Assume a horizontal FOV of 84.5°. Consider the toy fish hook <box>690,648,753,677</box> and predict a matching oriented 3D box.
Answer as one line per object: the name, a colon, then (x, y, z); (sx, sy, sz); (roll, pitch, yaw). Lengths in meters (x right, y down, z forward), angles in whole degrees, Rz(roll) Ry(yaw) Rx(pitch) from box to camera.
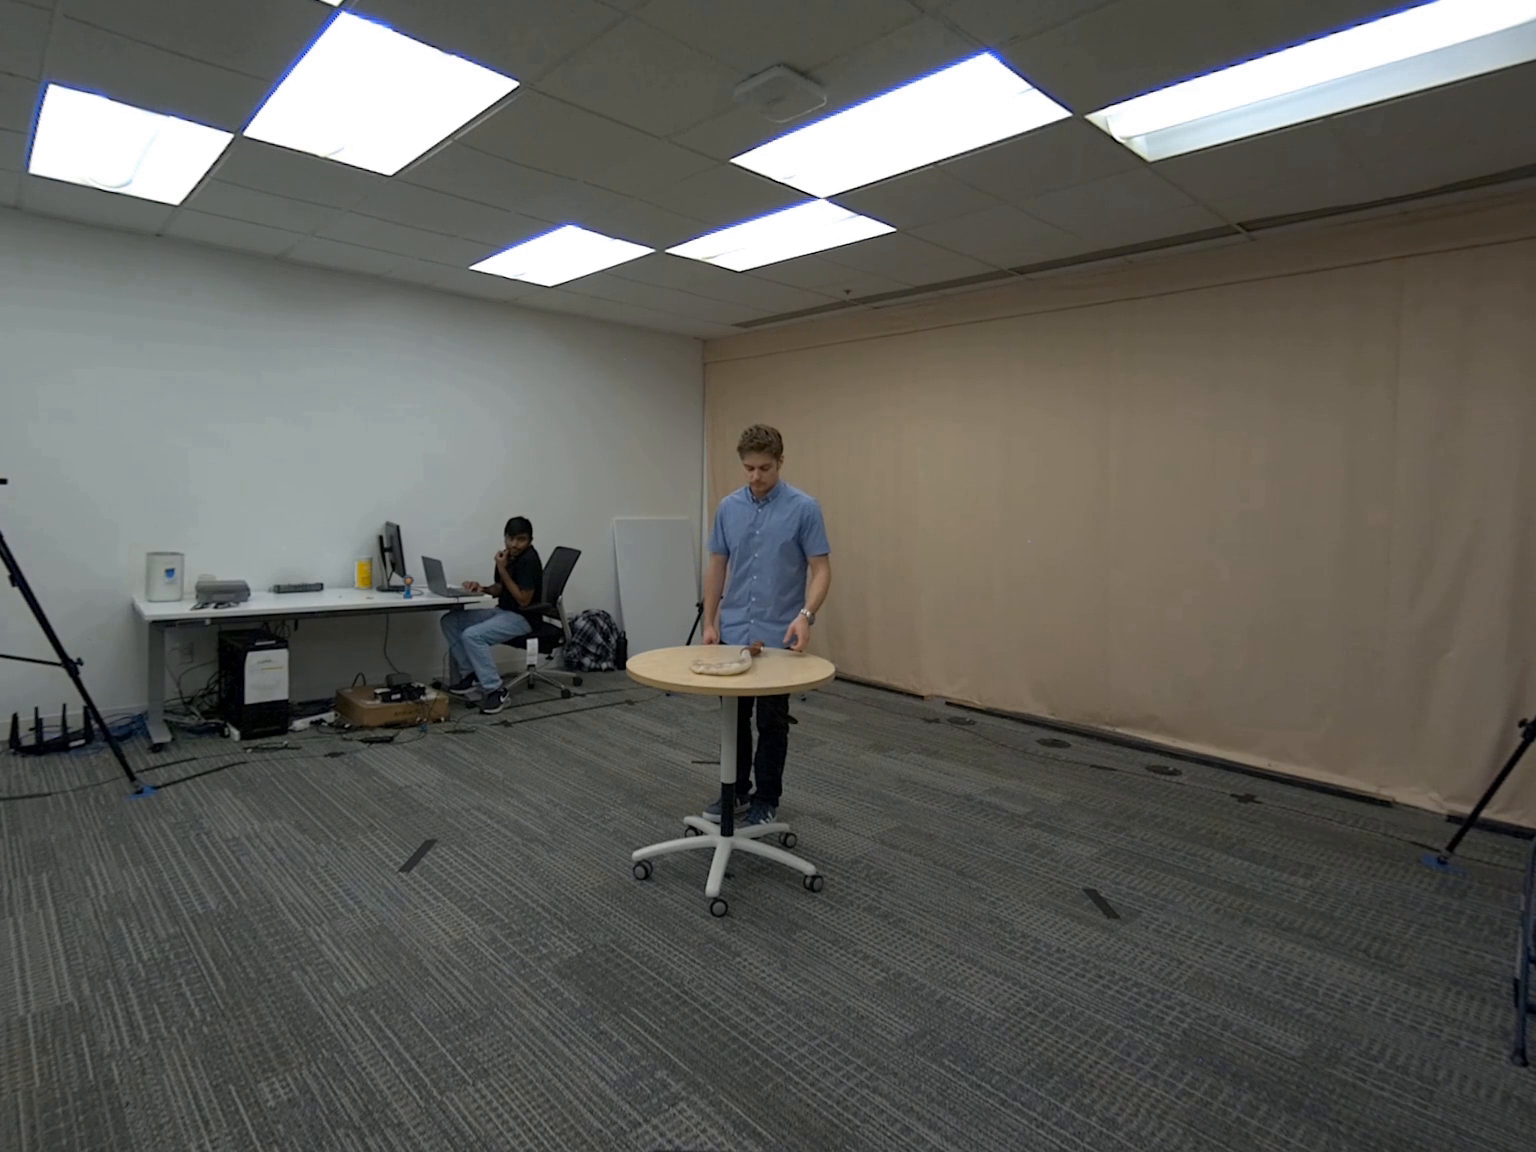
toy fish hook: (-0.150, 0.294, 3.120); (0.227, 0.048, 0.503); (8, 8, 12)
